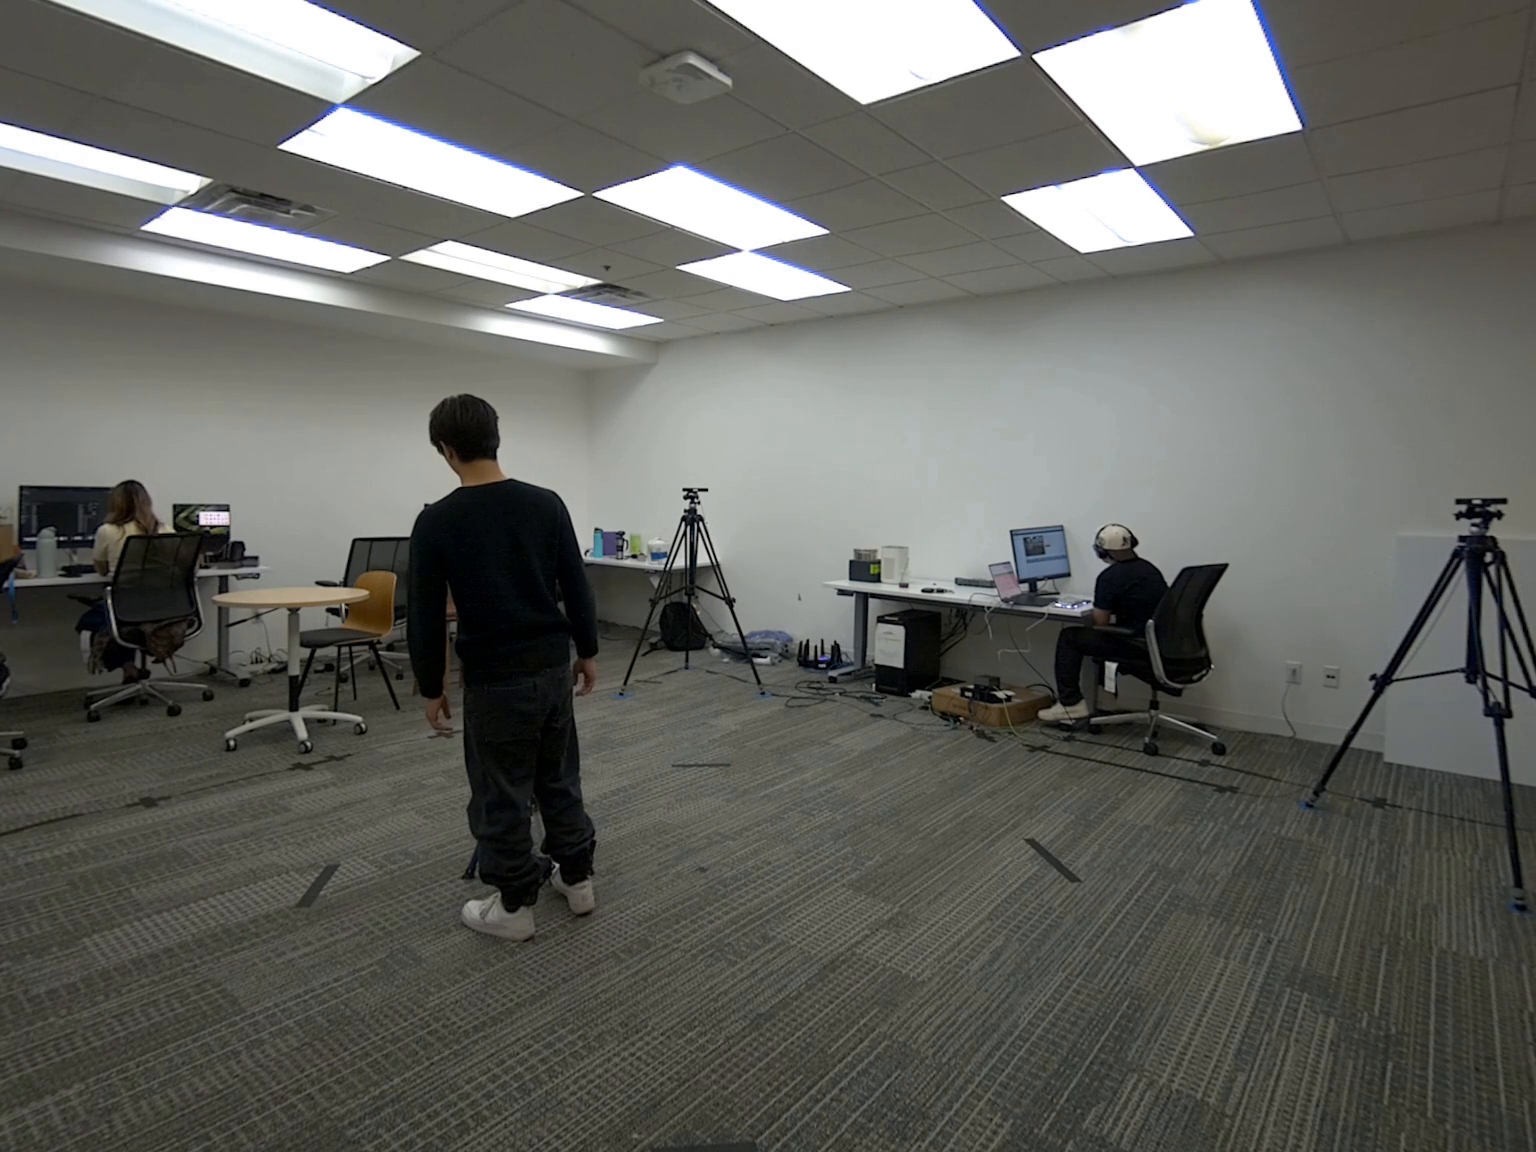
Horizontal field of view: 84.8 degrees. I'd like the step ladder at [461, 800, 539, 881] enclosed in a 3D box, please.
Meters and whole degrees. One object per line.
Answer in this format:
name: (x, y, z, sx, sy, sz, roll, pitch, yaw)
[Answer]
step ladder: (-0.896, 0.744, 3.174, 0.352, 0.604, 0.429, 1, 4, 5)
